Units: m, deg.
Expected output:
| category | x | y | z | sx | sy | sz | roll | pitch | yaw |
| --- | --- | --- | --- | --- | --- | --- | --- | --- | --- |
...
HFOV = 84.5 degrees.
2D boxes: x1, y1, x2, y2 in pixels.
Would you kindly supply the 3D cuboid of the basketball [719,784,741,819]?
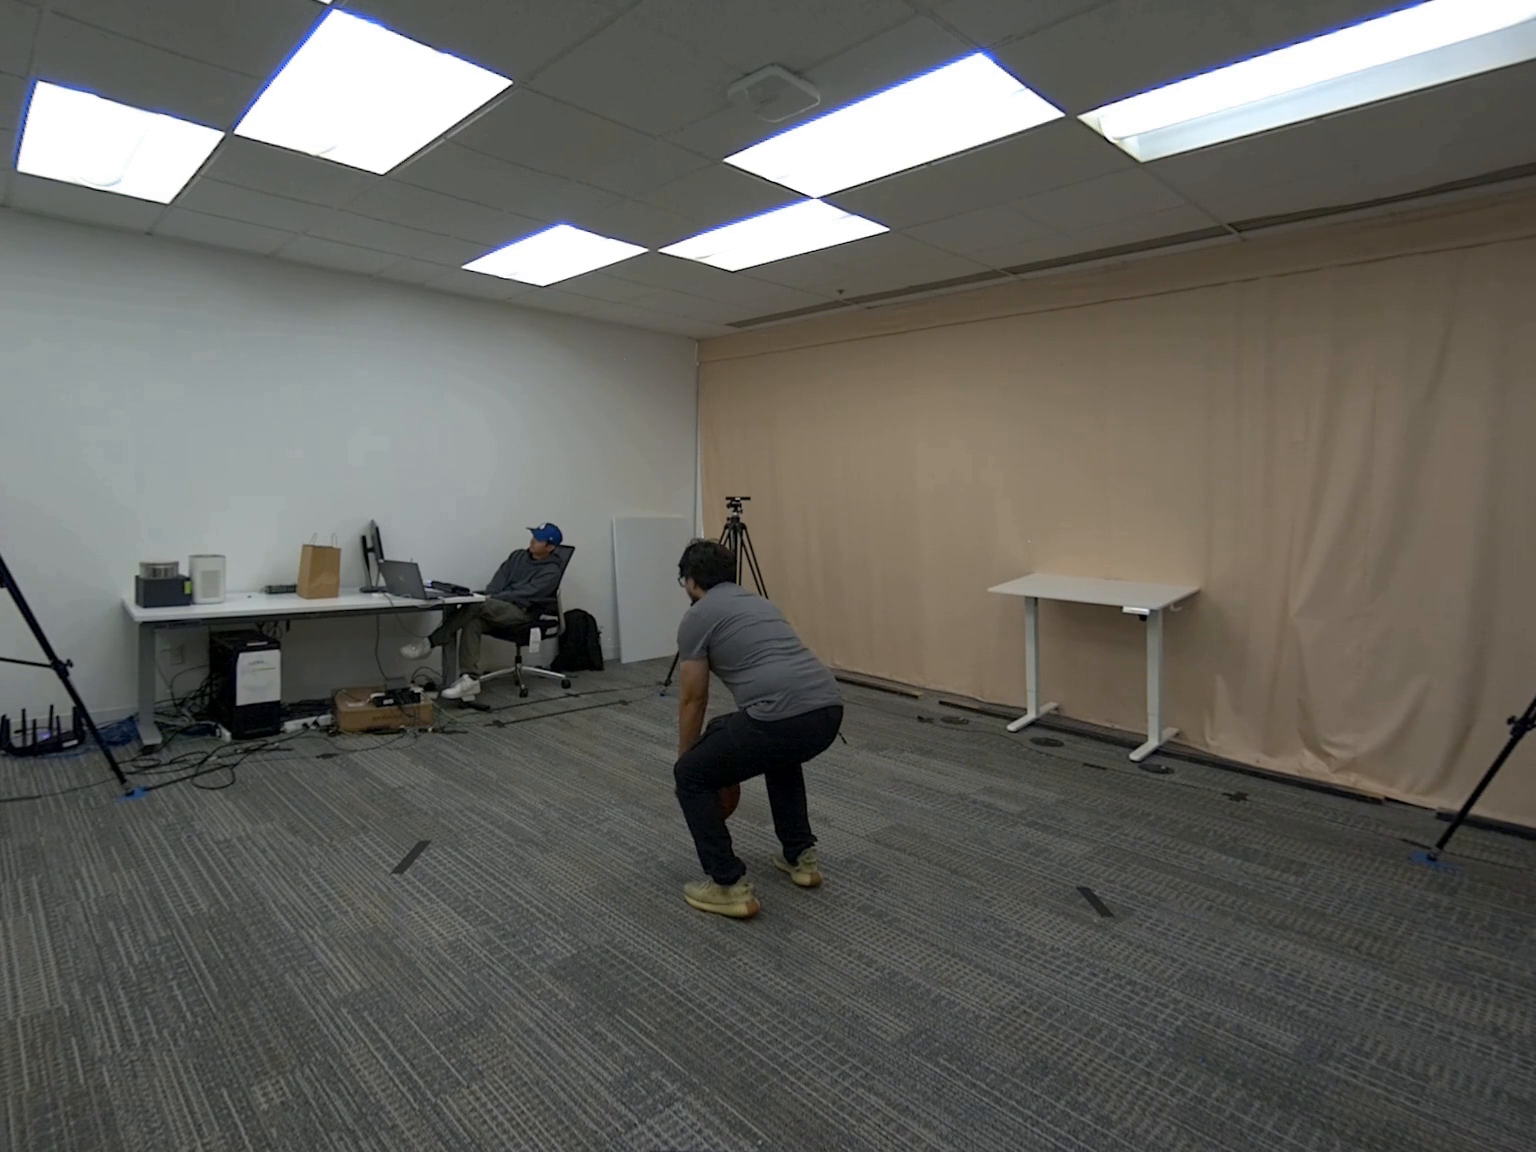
| category | x | y | z | sx | sy | sz | roll | pitch | yaw |
| --- | --- | --- | --- | --- | --- | --- | --- | --- | --- |
| basketball | -0.224 | 0.809 | 3.174 | 0.236 | 0.235 | 0.237 | 1 | 4 | -1 |
